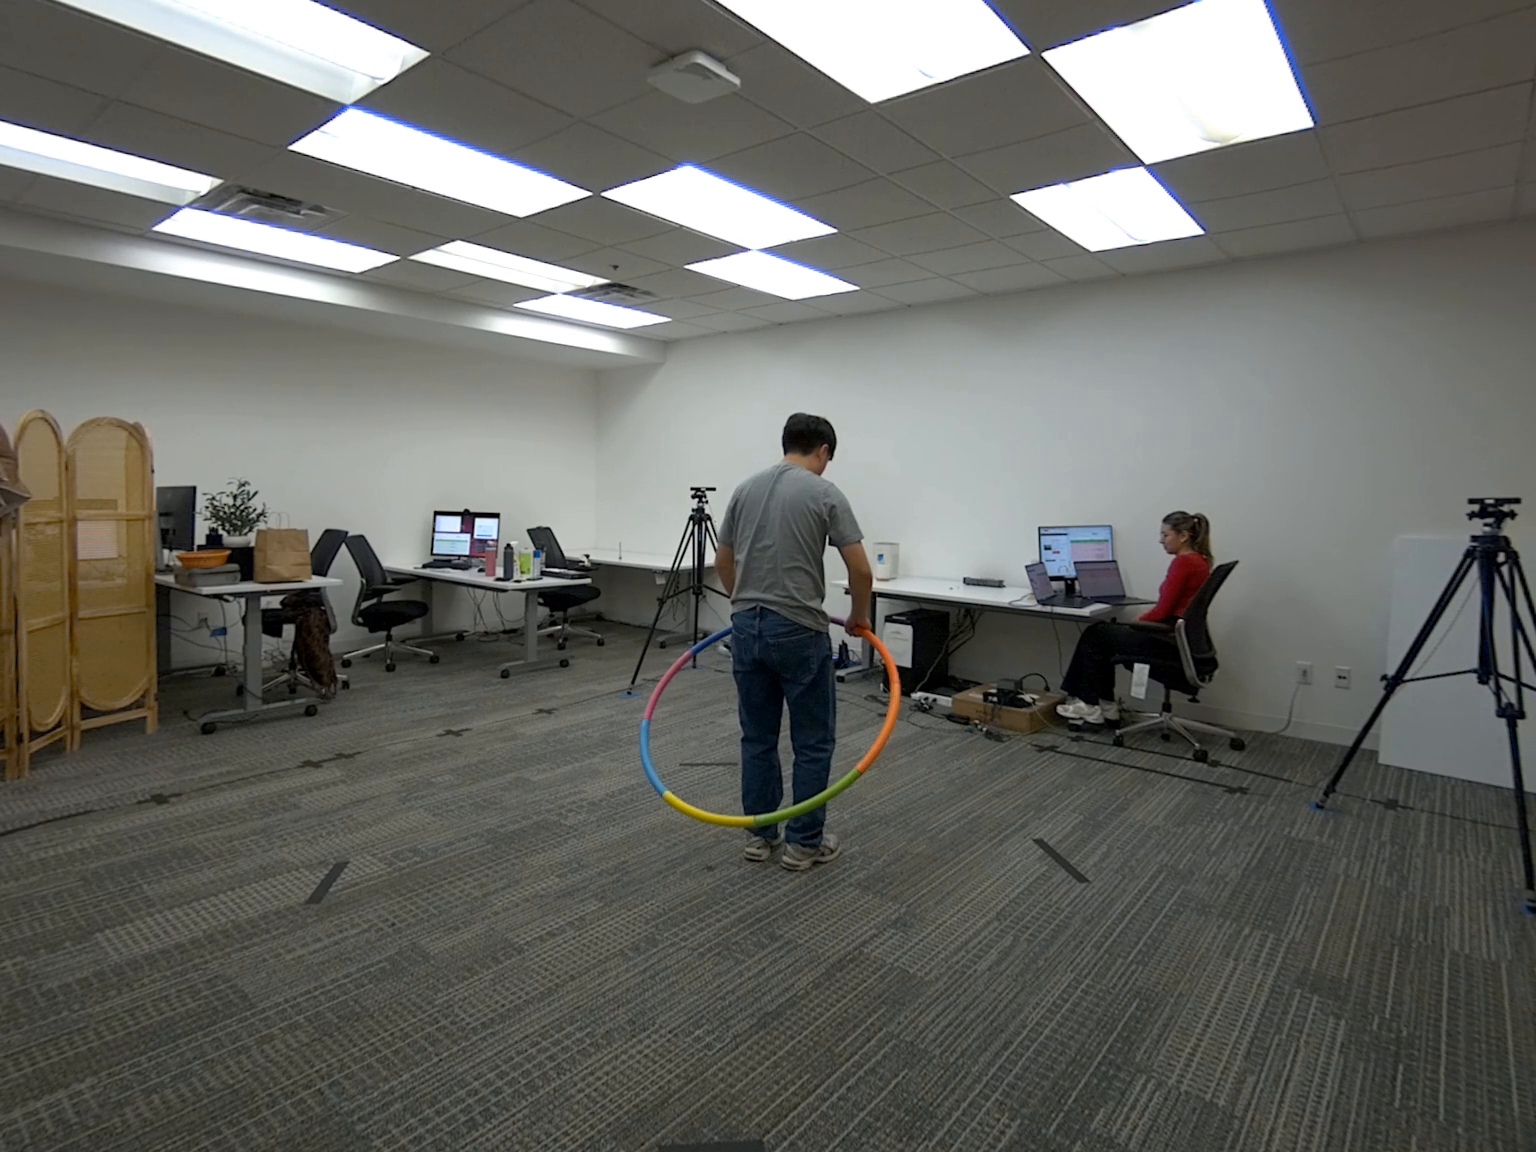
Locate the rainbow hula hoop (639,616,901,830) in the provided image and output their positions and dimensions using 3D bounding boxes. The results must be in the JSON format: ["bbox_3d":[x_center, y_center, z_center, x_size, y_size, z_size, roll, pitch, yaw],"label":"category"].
[{"bbox_3d":[-0.010,0.473,3.106,0.986,0.034,1.007,-16,36,10],"label":"rainbow hula hoop"}]
